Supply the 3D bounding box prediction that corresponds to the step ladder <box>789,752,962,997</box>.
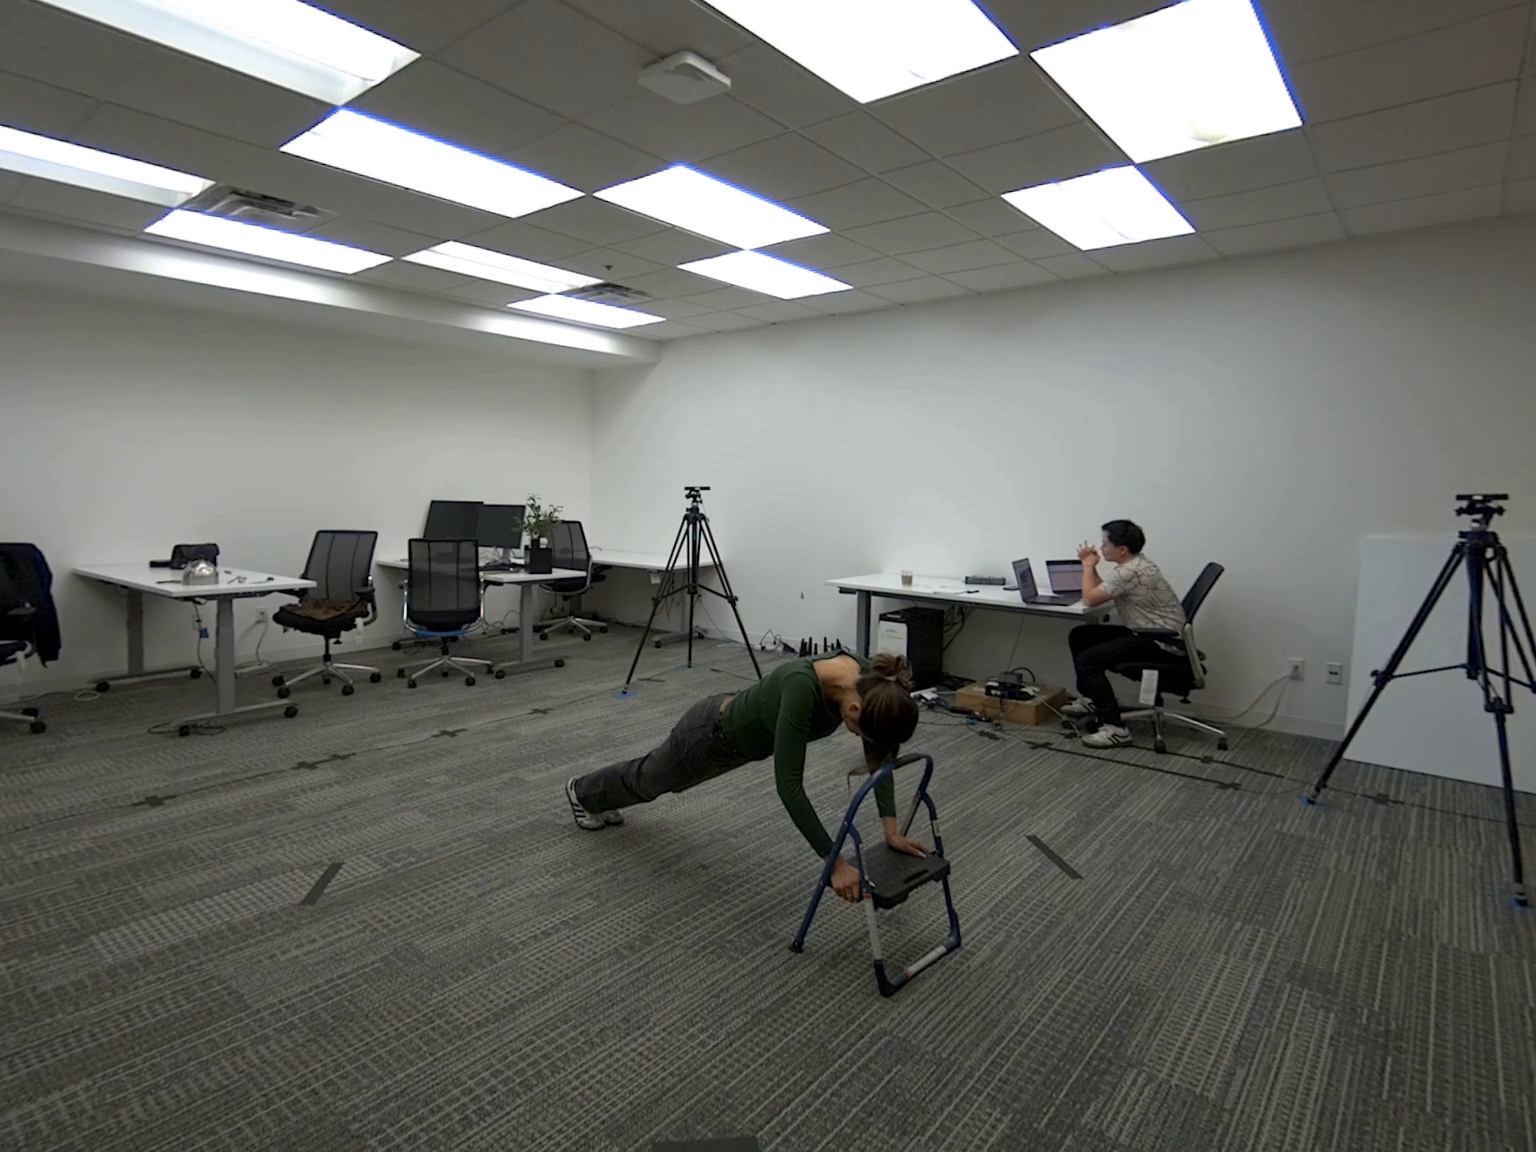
[{"bbox_3d":[0.332,0.828,2.578,0.361,0.604,0.418,5,5,43],"label":"step ladder"}]
